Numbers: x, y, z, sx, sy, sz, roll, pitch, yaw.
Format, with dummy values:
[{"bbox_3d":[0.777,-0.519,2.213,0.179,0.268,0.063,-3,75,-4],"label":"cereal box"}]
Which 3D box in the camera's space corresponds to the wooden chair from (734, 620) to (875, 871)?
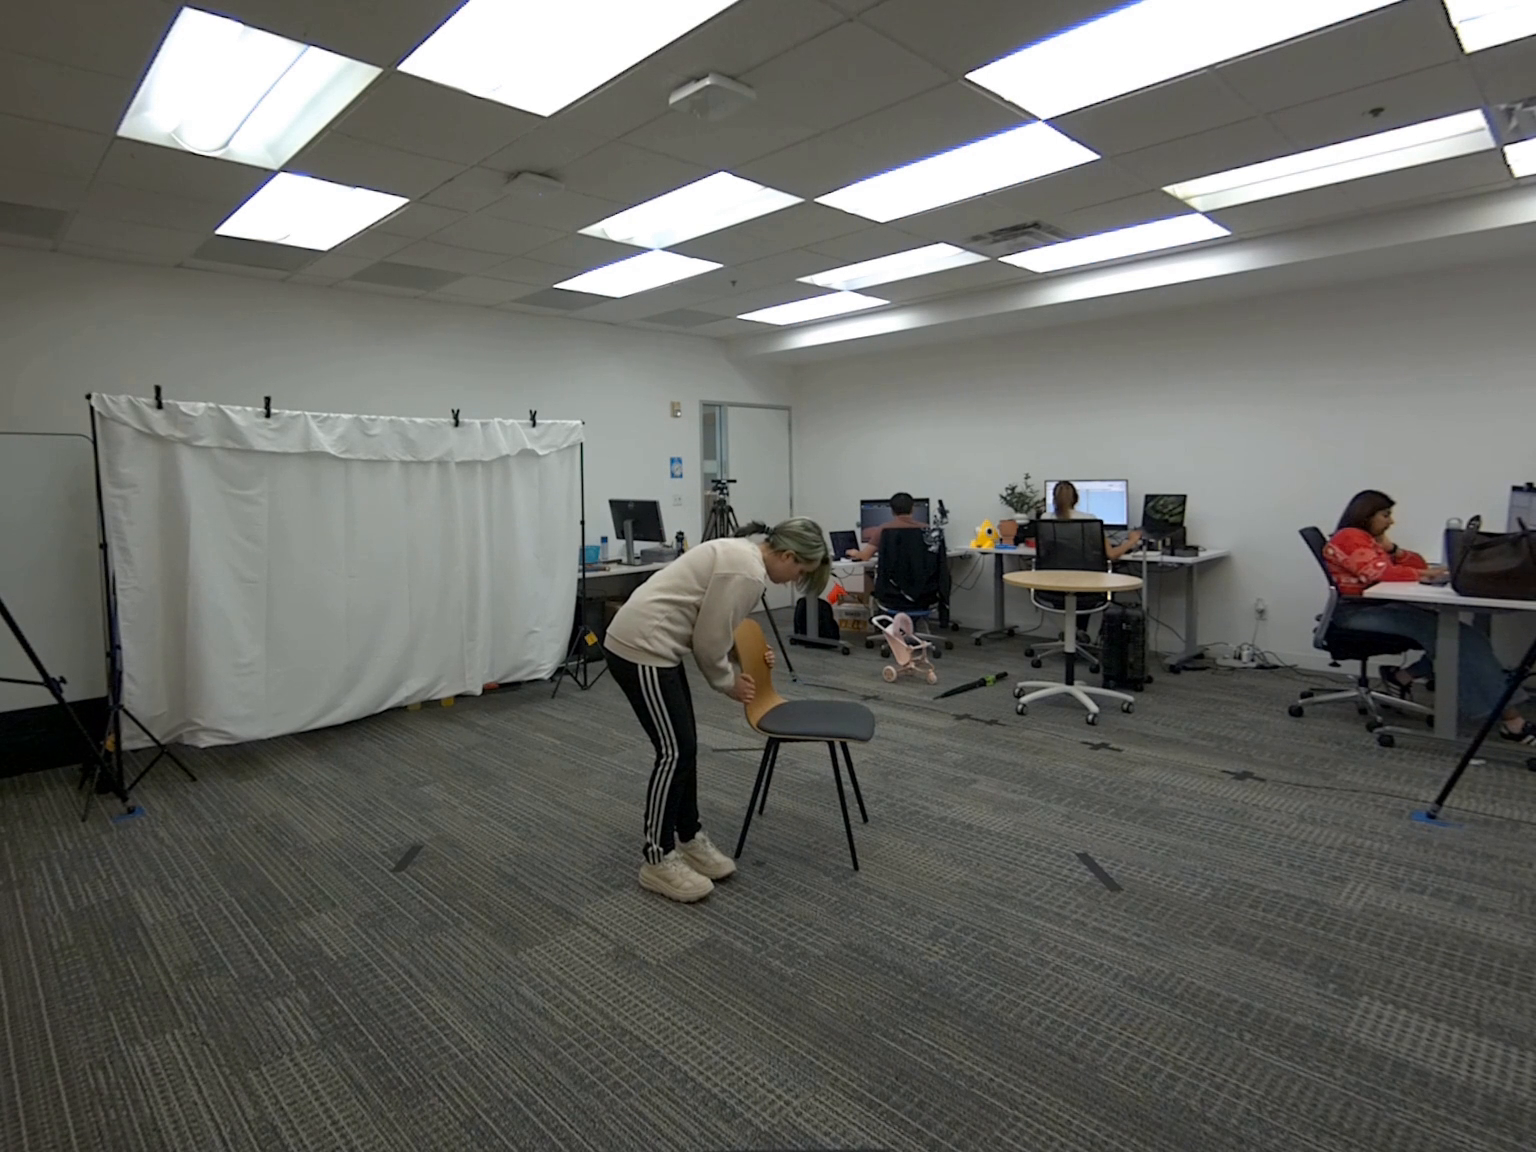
[{"bbox_3d":[0.147,0.596,3.281,0.530,0.875,0.473,-3,3,14],"label":"wooden chair"}]
